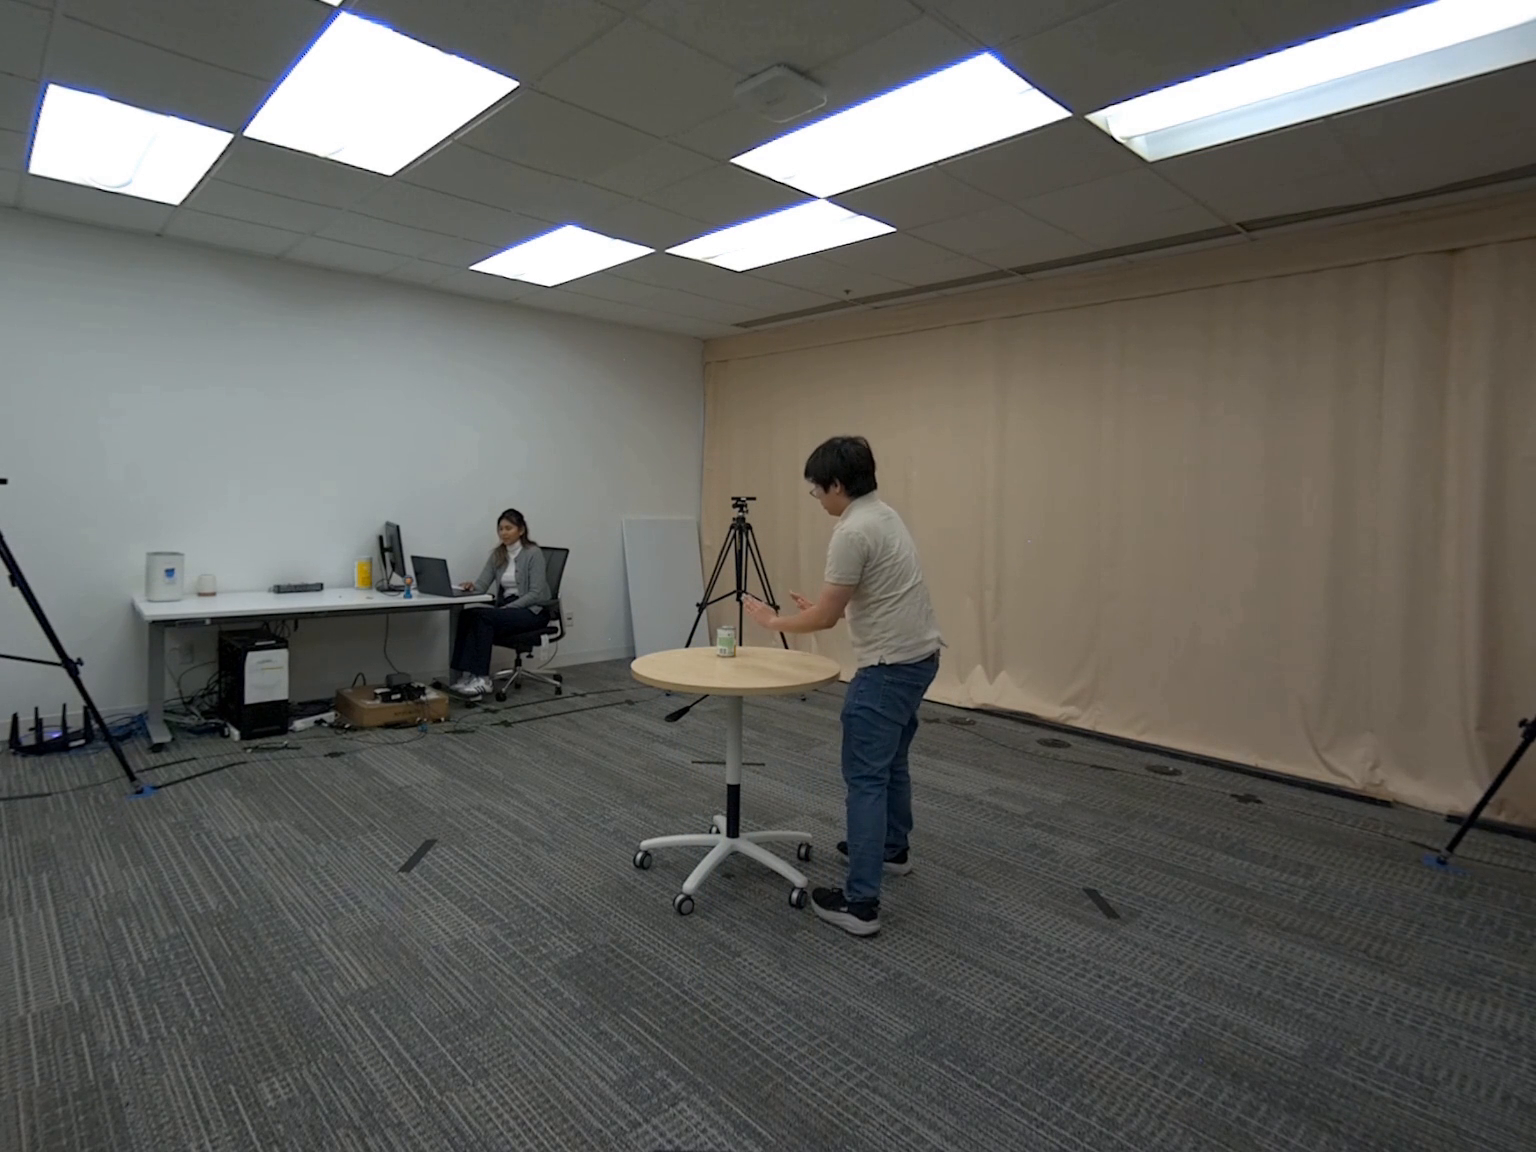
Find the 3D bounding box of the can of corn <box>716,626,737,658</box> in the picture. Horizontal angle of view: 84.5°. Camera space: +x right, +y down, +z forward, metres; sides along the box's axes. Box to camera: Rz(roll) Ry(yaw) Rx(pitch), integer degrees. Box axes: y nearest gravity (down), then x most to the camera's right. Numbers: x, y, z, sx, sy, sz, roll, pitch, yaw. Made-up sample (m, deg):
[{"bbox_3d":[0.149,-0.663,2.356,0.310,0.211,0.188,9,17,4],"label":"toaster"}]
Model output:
[{"bbox_3d":[-0.166,0.254,3.250,0.074,0.111,0.074,1,4,-1],"label":"can of corn"}]
